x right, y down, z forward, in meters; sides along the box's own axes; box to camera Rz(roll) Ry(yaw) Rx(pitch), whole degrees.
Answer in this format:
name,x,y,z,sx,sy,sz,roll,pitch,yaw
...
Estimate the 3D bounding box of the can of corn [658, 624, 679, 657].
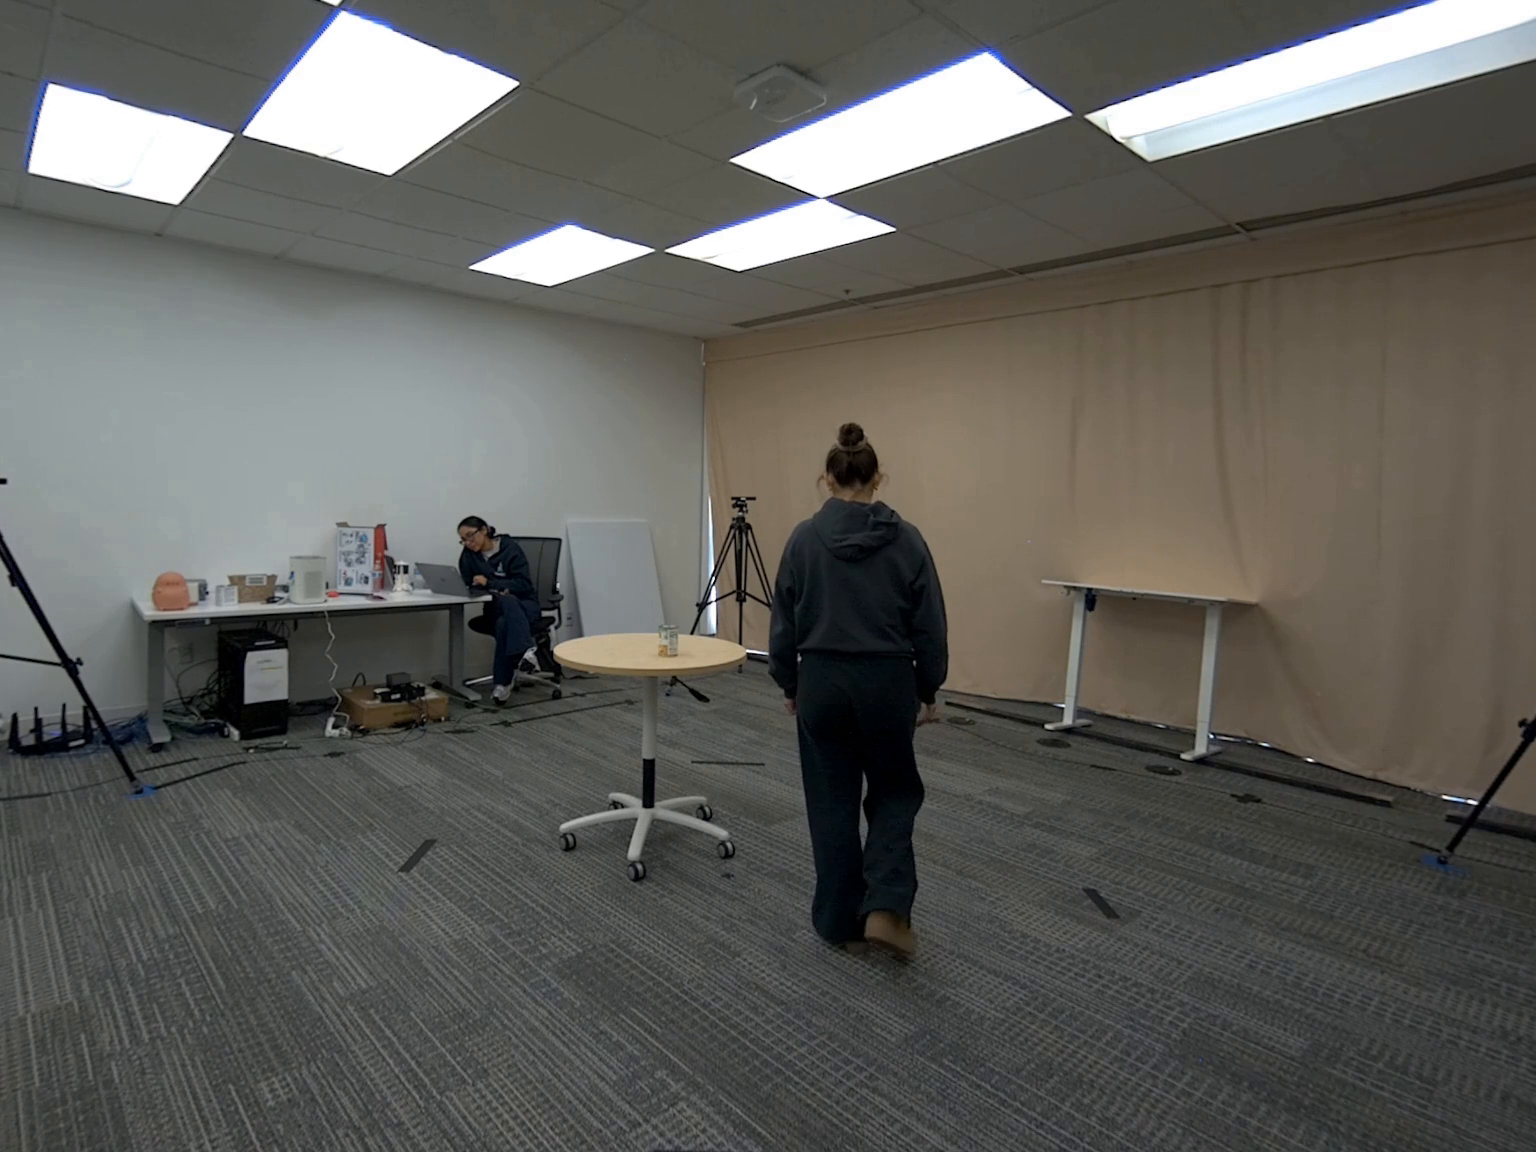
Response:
name,x,y,z,sx,sy,sz,roll,pitch,yaw
can of corn,-0.393,0.250,3.244,0.074,0.111,0.074,5,4,-2
